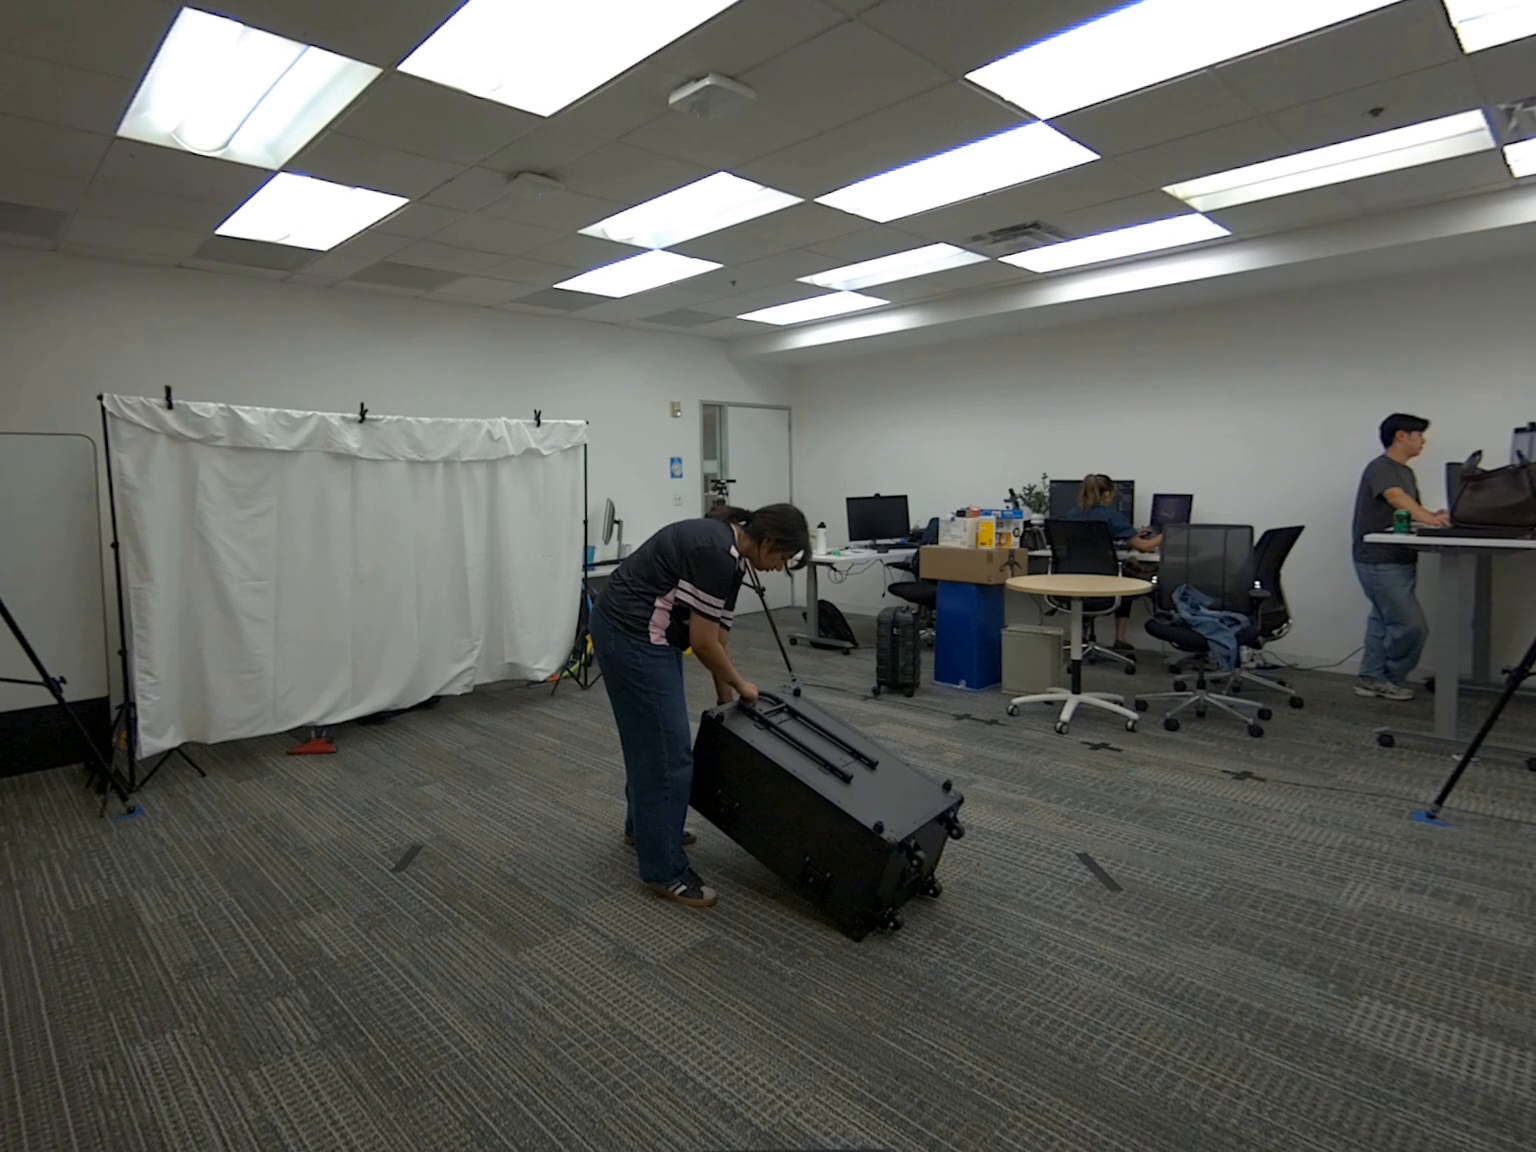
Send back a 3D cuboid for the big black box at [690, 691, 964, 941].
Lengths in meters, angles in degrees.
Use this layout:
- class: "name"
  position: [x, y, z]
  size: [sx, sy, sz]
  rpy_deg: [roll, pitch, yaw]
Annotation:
- class: "big black box"
  position: [0.206, 0.772, 2.910]
  size: [0.901, 0.381, 0.509]
  rpy_deg: [29, 21, 35]
